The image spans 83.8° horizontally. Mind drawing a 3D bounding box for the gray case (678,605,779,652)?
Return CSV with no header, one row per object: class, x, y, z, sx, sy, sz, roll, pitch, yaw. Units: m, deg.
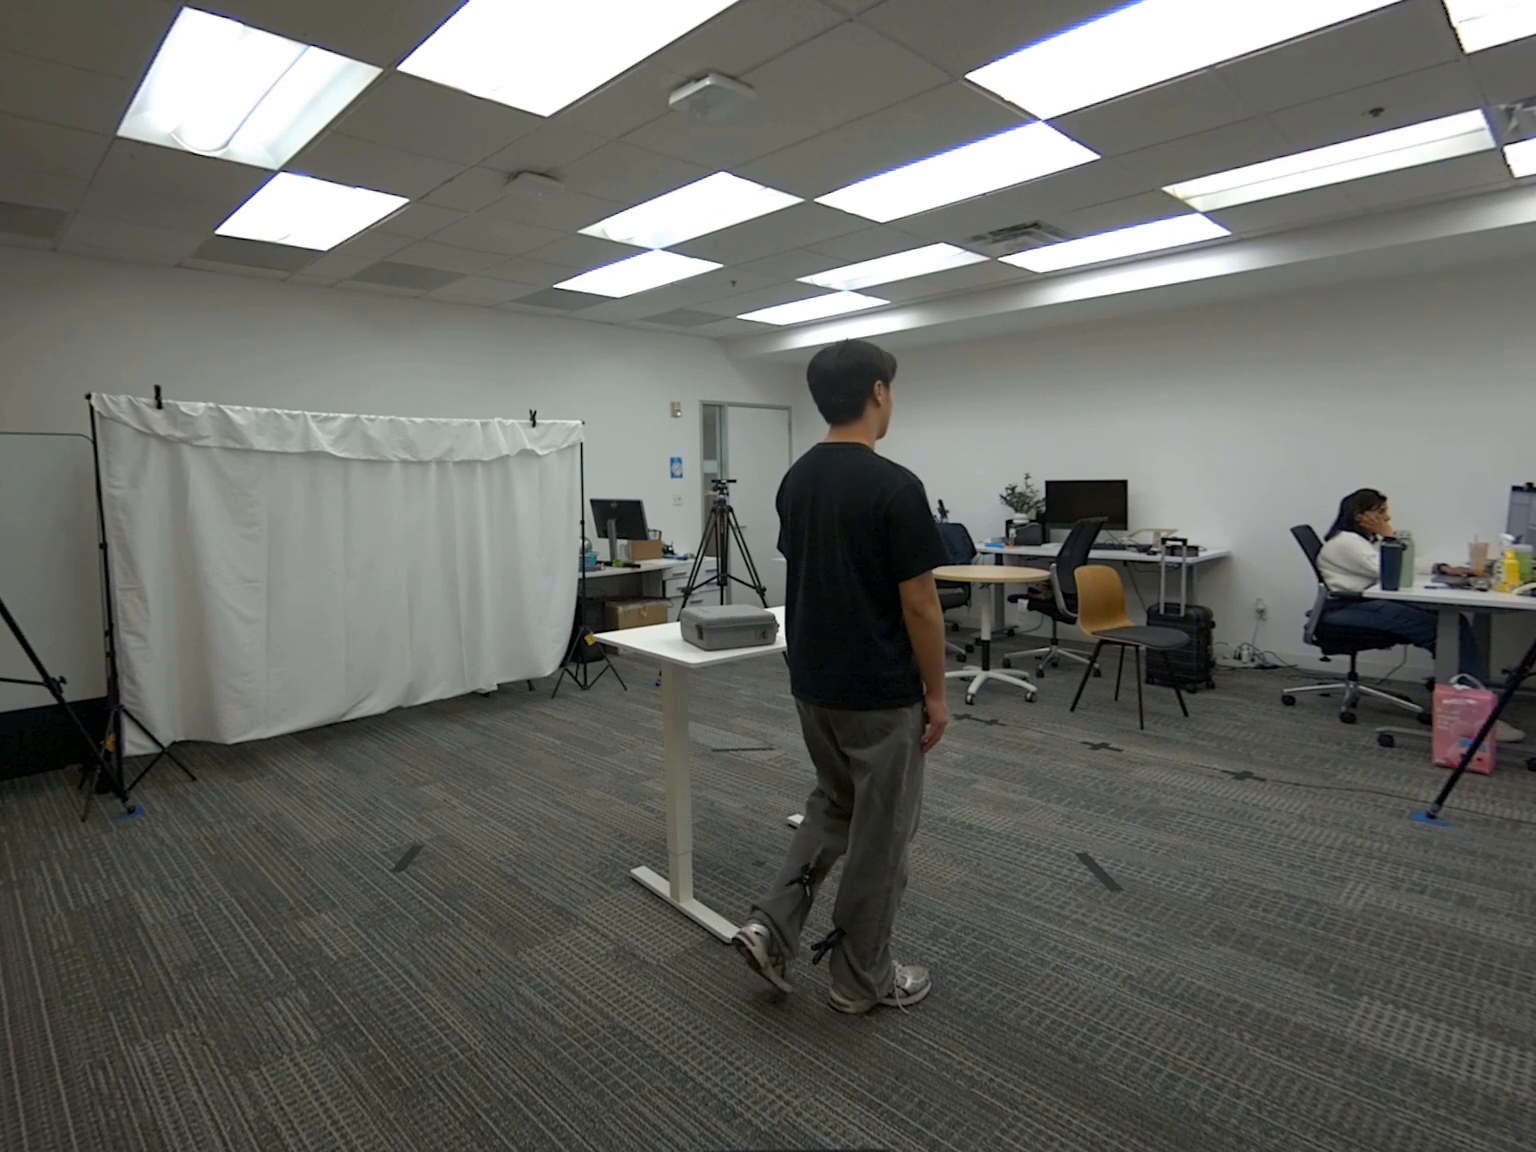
gray case,-0.119,0.157,2.739,0.281,0.102,0.269,-3,6,-23
